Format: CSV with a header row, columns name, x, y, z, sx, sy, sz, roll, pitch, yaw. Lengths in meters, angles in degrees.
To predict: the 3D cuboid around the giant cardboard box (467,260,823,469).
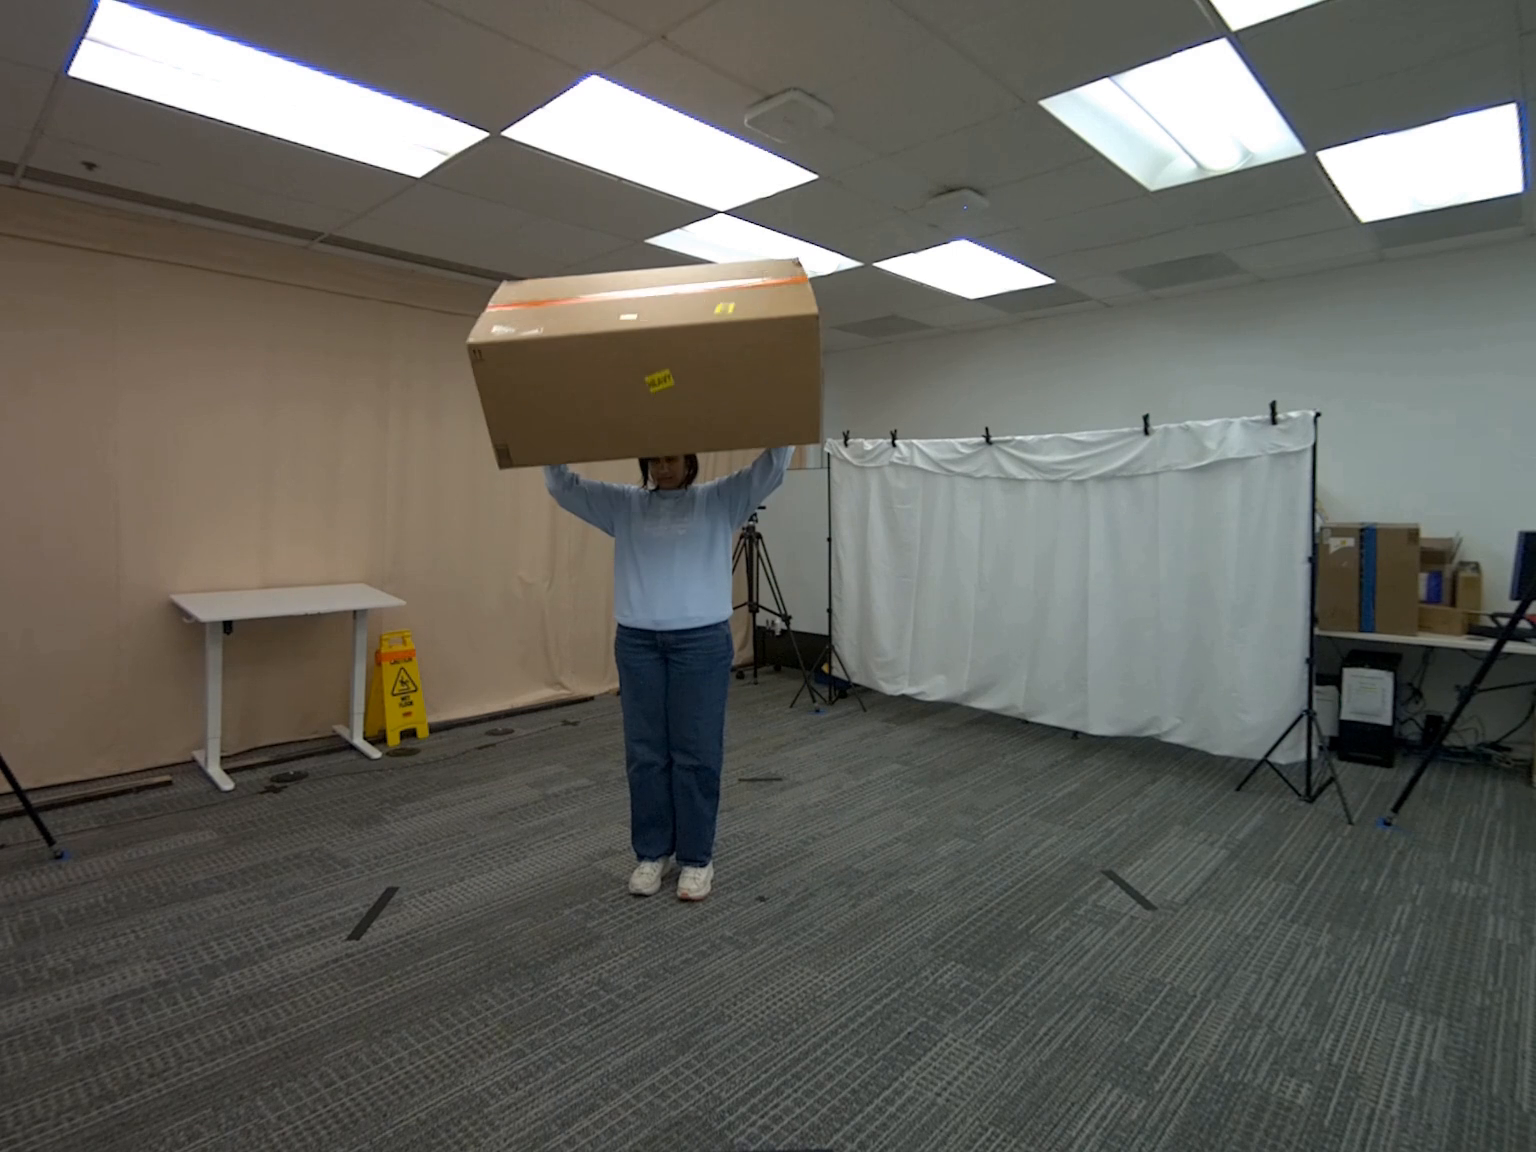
name,x,y,z,sx,sy,sz,roll,pitch,yaw
giant cardboard box,-0.367,-0.699,2.746,1.028,0.417,0.588,-5,36,2
